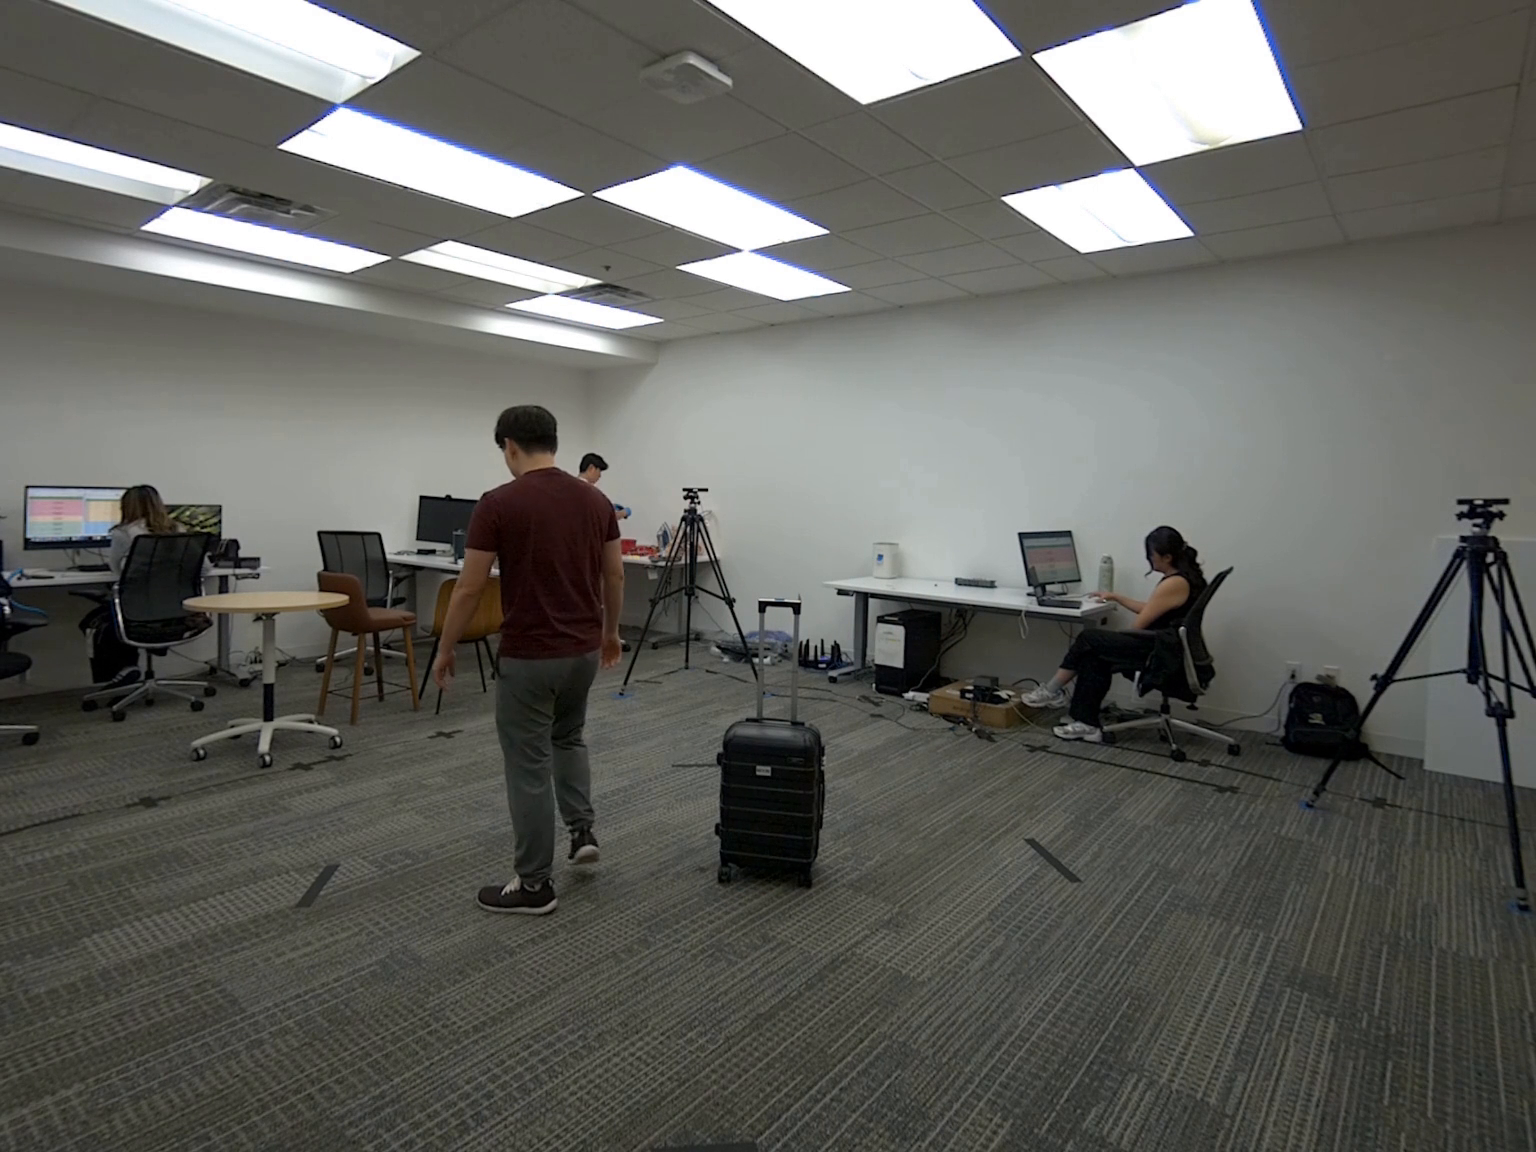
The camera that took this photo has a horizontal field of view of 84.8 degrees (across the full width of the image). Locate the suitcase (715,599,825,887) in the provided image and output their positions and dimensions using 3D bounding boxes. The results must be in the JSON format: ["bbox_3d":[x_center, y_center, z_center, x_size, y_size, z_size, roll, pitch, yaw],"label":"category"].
[{"bbox_3d":[0.011,0.602,3.079,0.388,0.974,0.255,3,5,10],"label":"suitcase"}]
